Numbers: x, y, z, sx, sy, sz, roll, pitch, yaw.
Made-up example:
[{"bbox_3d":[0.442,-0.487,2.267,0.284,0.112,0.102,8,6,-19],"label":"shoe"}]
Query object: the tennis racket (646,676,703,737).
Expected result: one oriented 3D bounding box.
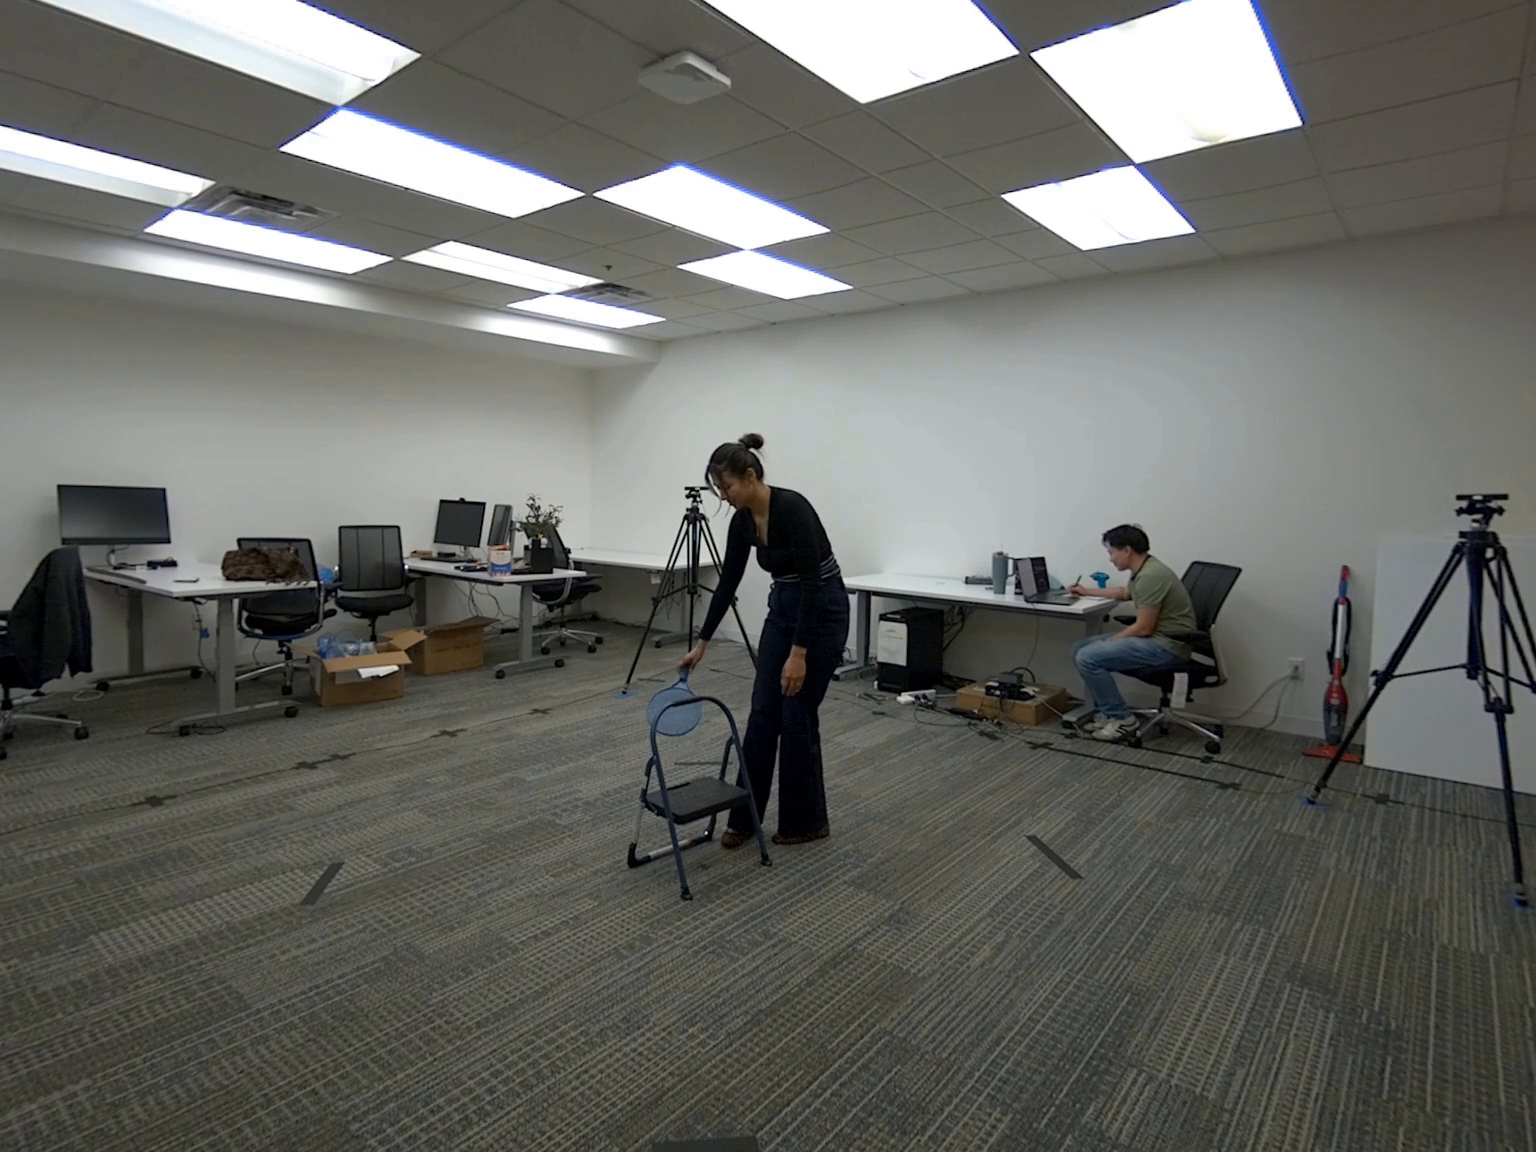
[{"bbox_3d":[-0.352,0.485,3.412,0.214,0.031,0.442,7,37,1],"label":"tennis racket"}]
